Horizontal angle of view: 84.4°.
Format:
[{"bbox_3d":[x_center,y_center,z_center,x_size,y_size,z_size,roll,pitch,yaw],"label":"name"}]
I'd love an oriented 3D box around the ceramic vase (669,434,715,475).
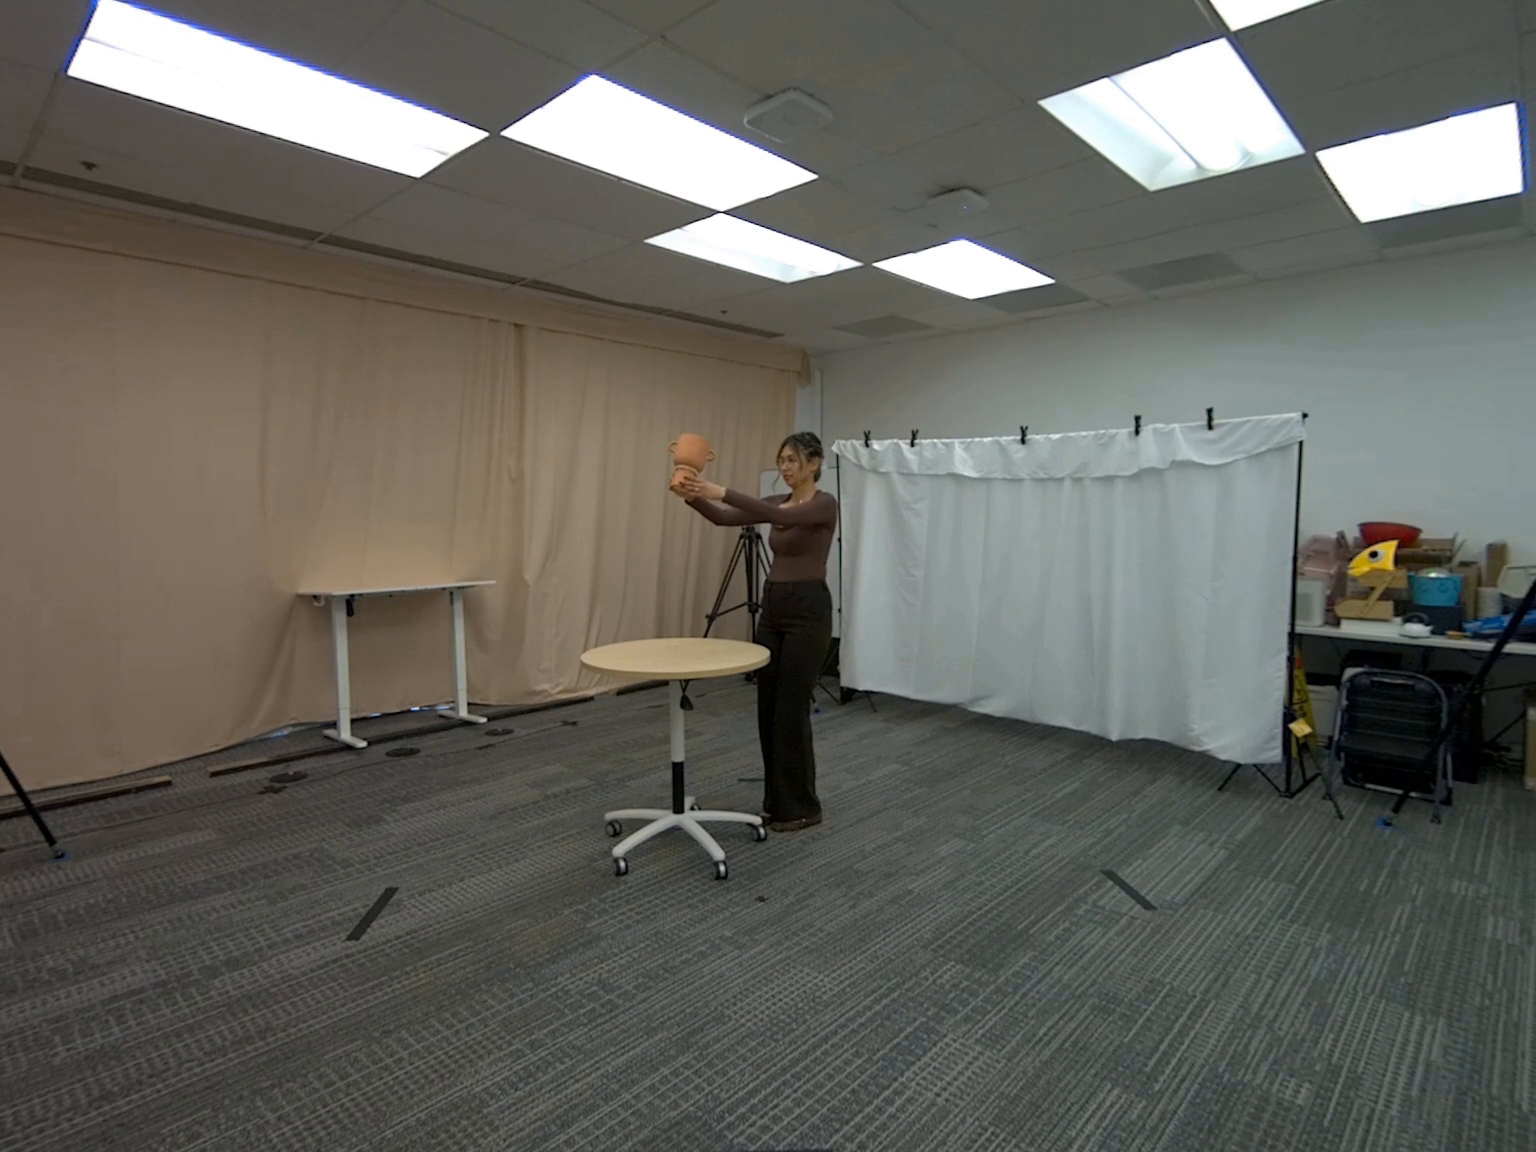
[{"bbox_3d":[-0.321,-0.452,3.410,0.164,0.221,0.130,3,-18,41],"label":"ceramic vase"}]
